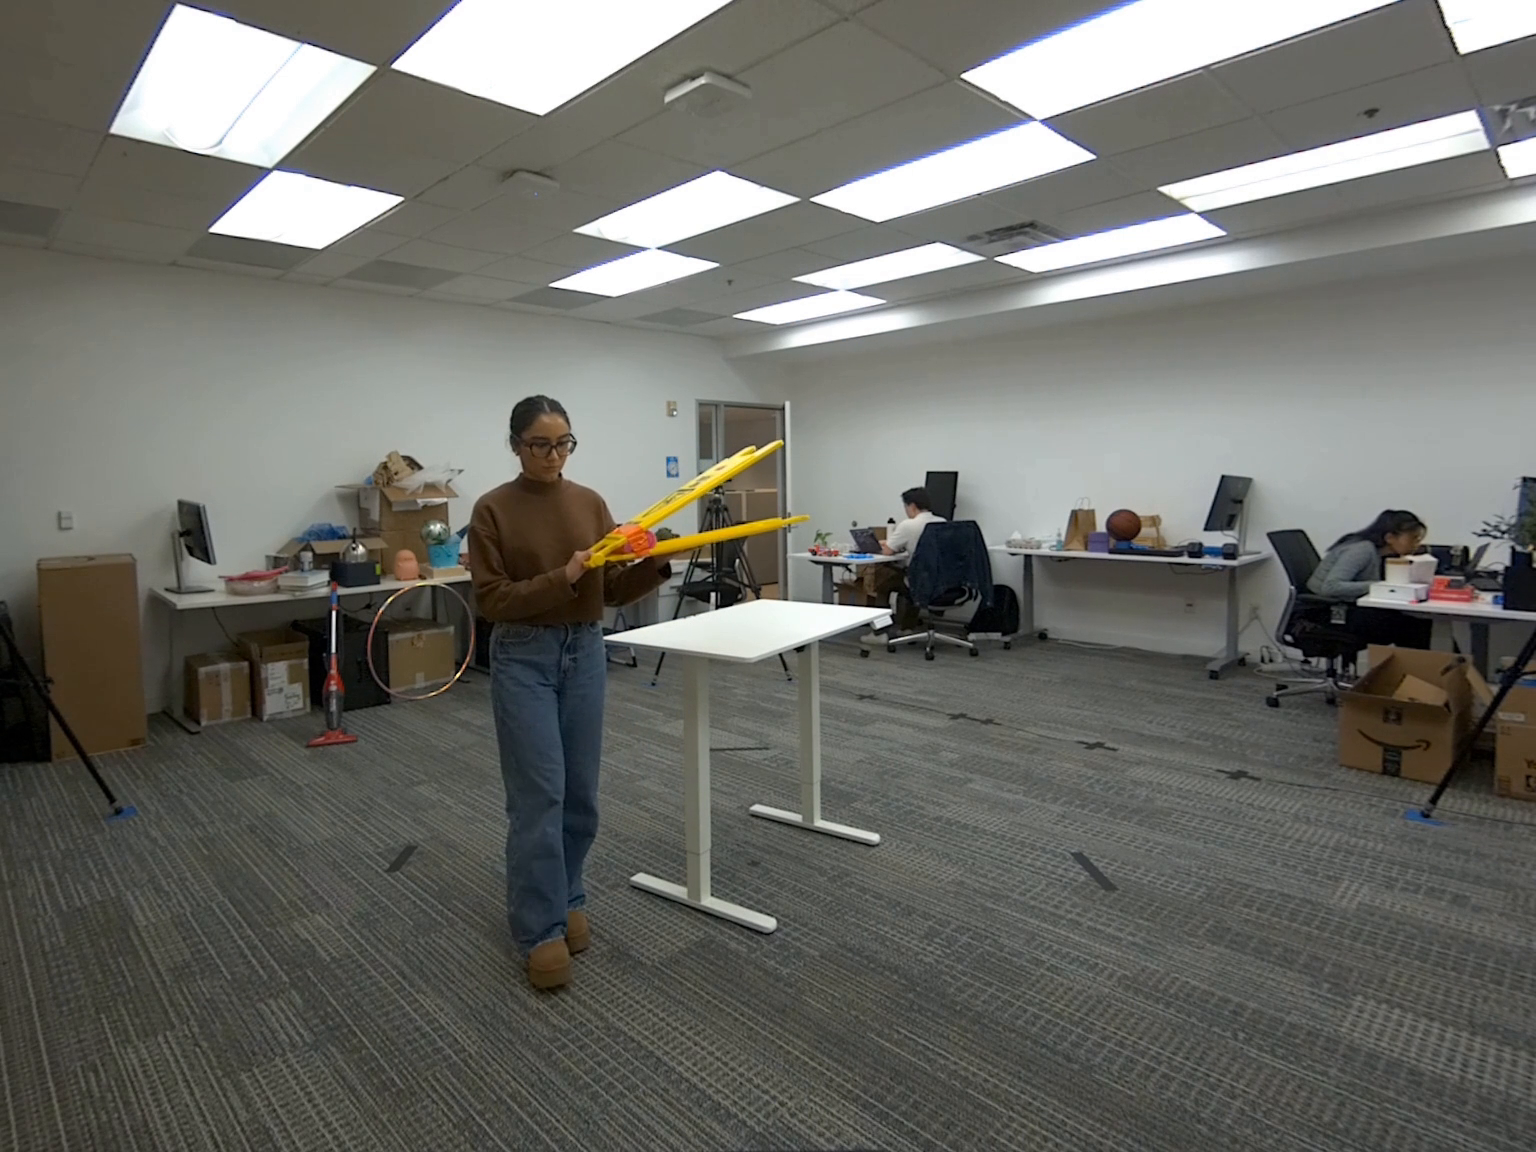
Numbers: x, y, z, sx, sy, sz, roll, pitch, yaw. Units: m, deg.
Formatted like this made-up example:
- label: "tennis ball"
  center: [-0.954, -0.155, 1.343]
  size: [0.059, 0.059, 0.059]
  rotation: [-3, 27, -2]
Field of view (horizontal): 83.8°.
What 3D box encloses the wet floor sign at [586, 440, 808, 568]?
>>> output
- label: "wet floor sign"
  center: [-0.242, -0.158, 2.483]
  size: [0.639, 0.287, 0.288]
  rotation: [-23, 9, -21]
